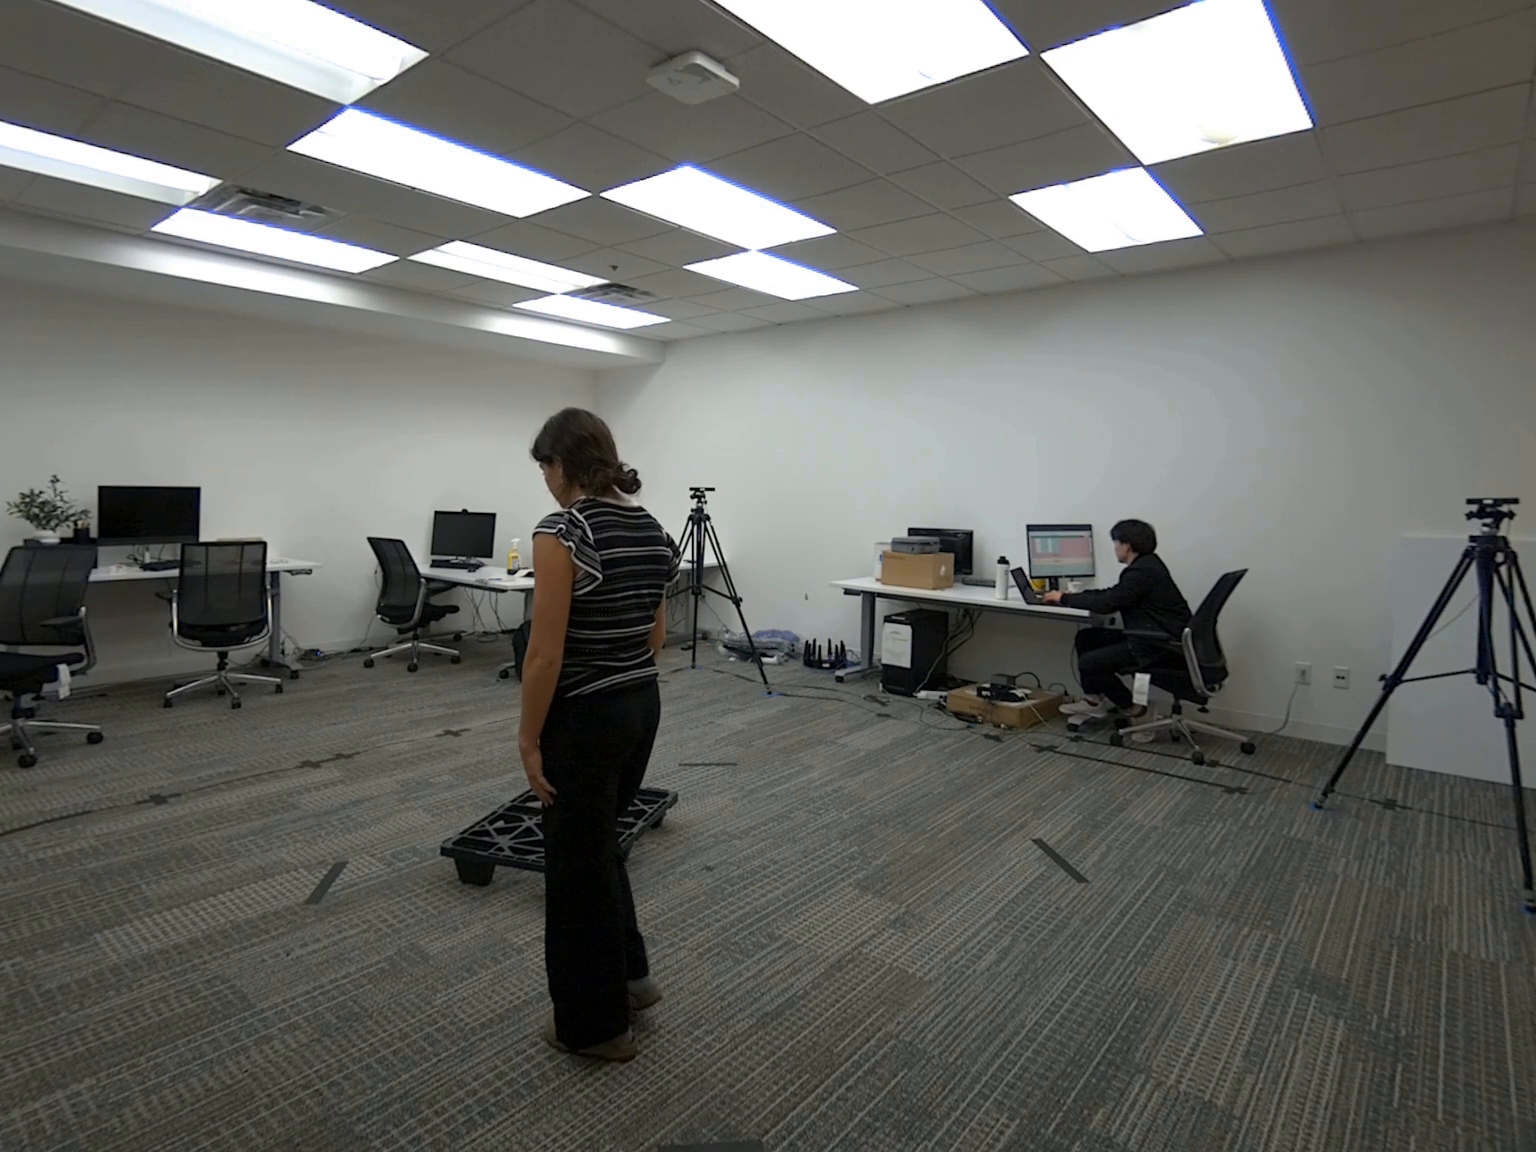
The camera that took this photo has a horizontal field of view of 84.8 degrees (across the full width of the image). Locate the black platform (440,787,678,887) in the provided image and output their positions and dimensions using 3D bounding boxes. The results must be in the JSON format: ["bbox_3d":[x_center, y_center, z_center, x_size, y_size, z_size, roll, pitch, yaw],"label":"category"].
[{"bbox_3d":[-0.762,0.975,3.239,0.616,0.143,0.794,3,6,16],"label":"black platform"}]
